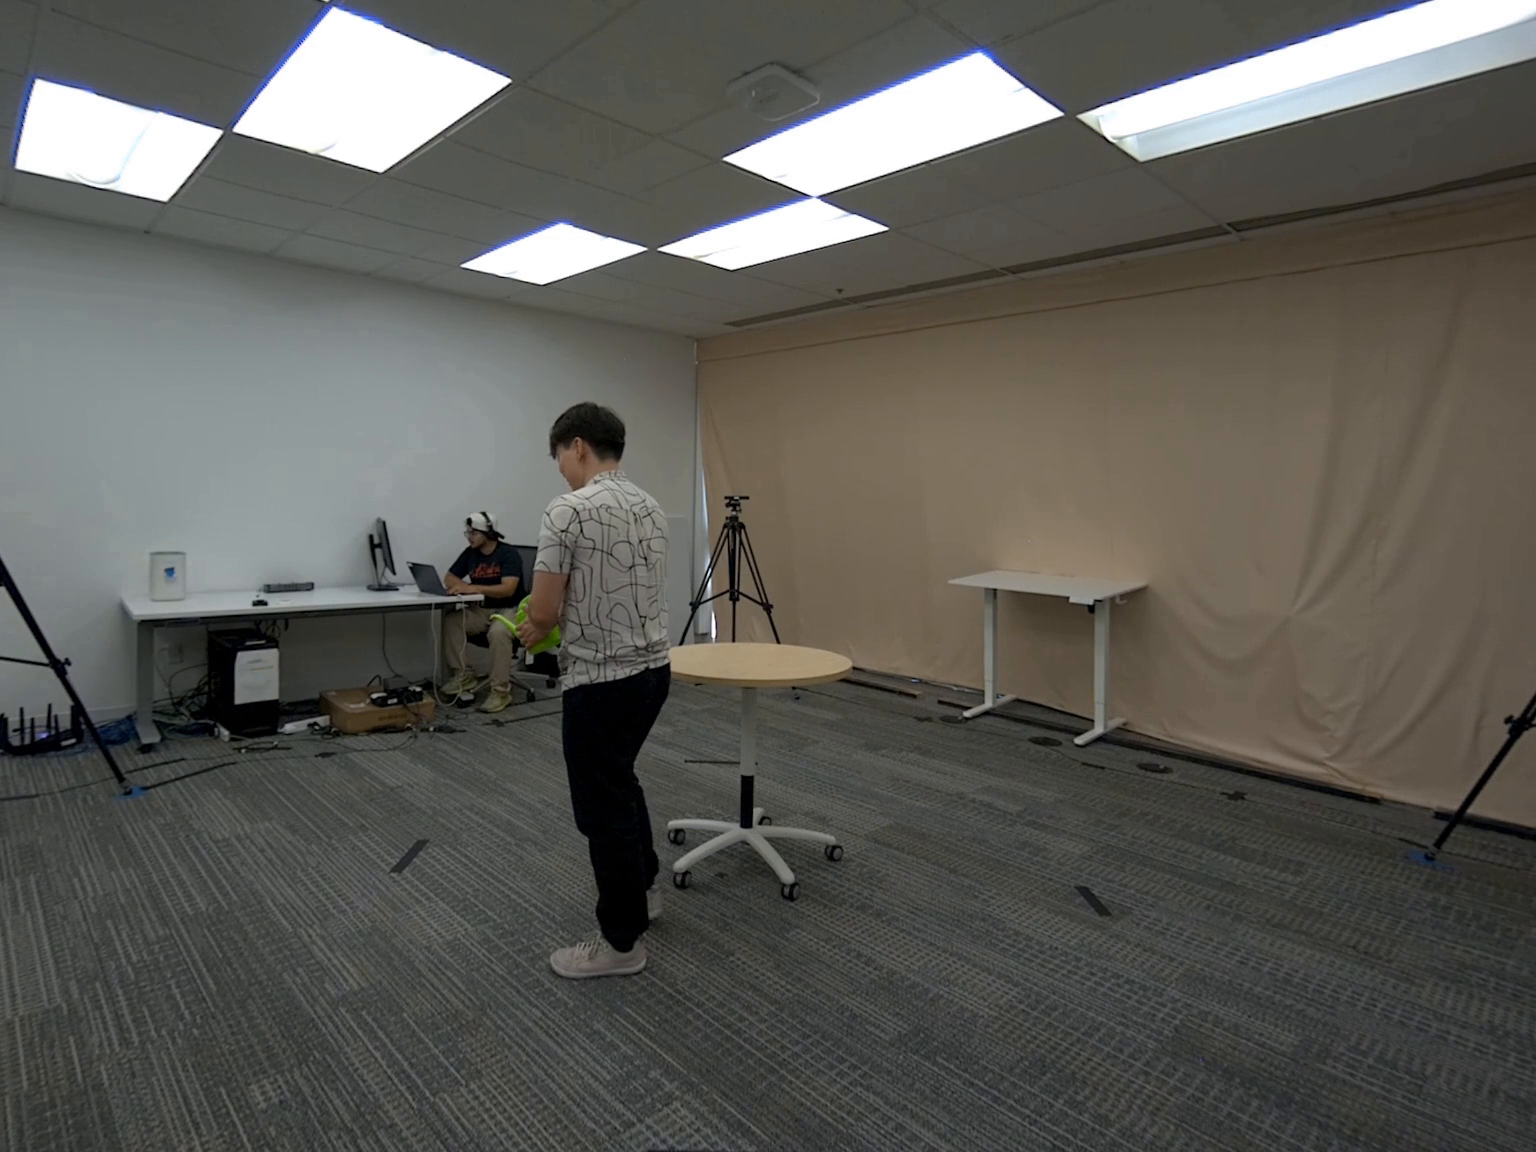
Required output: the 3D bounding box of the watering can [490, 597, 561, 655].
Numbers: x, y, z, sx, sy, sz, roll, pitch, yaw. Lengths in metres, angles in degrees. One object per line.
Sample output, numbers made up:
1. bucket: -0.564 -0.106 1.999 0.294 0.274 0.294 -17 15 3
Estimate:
1. watering can: -0.757 0.162 2.659 0.281 0.177 0.096 -24 -4 36
